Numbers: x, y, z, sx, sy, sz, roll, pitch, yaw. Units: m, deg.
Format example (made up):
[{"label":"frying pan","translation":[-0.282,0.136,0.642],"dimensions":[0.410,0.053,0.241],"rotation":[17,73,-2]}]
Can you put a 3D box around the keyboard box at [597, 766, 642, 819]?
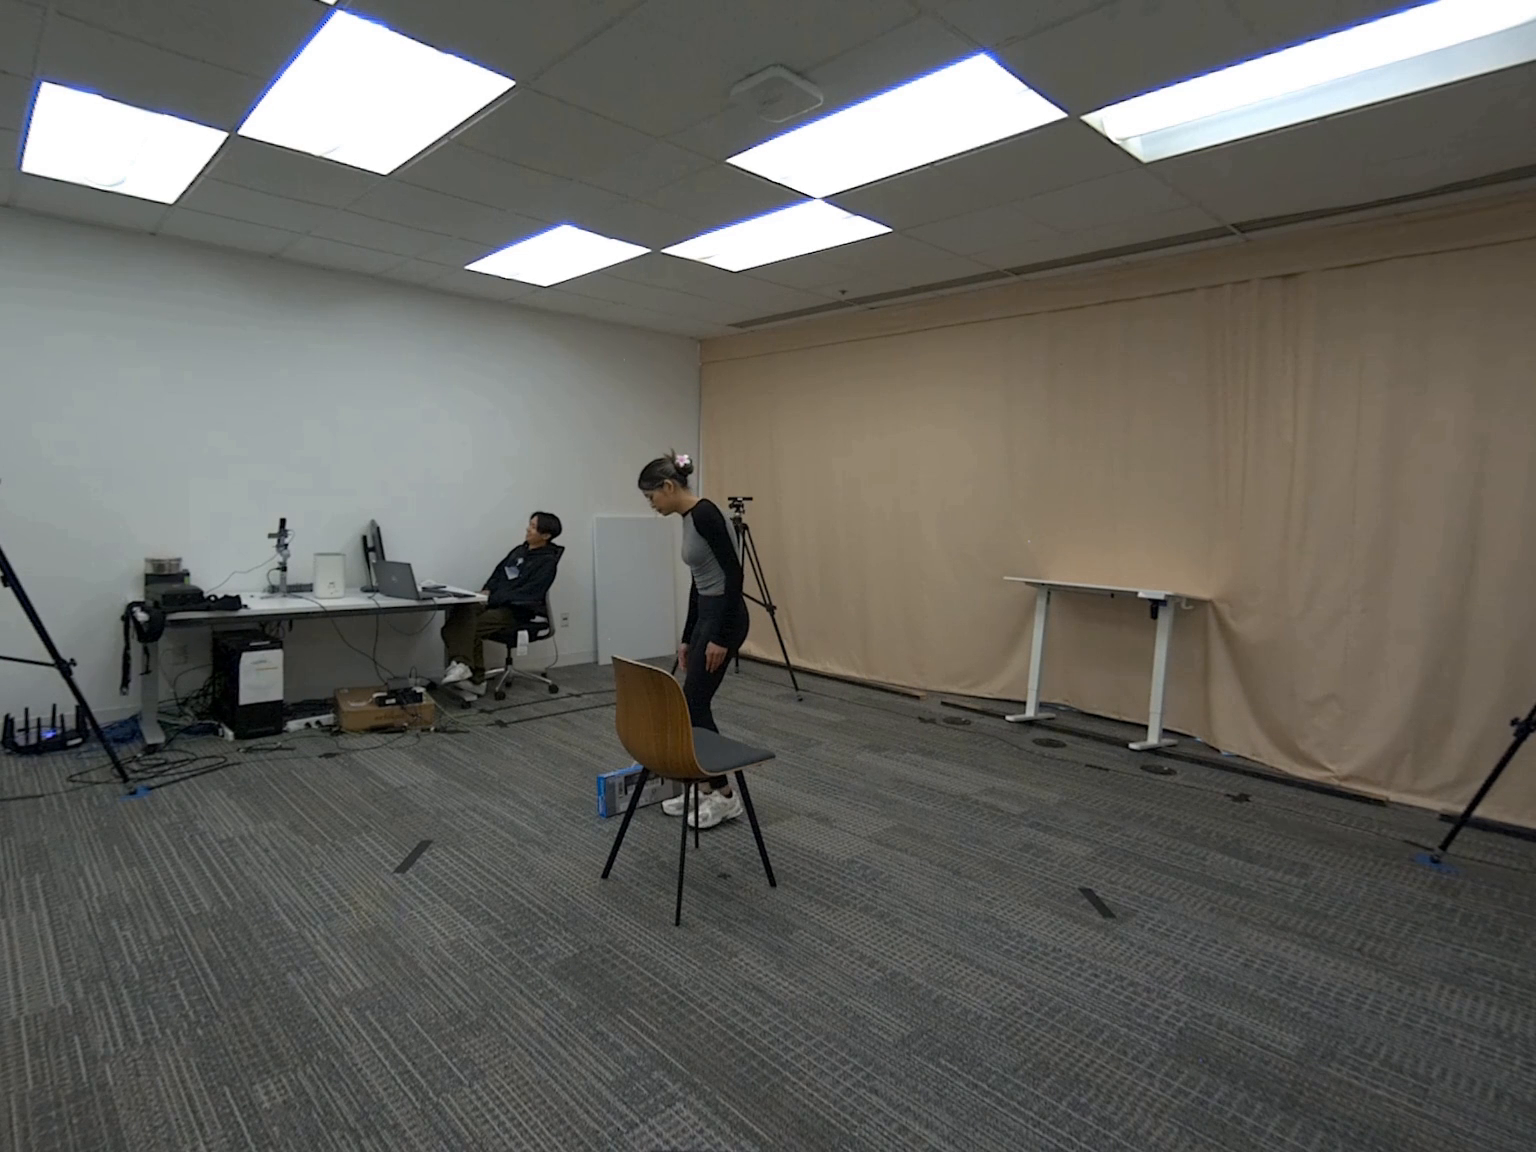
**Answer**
[{"label":"keyboard box","translation":[-0.584,0.952,3.808],"dimensions":[0.060,0.176,0.427],"rotation":[-3,0,44]}]
